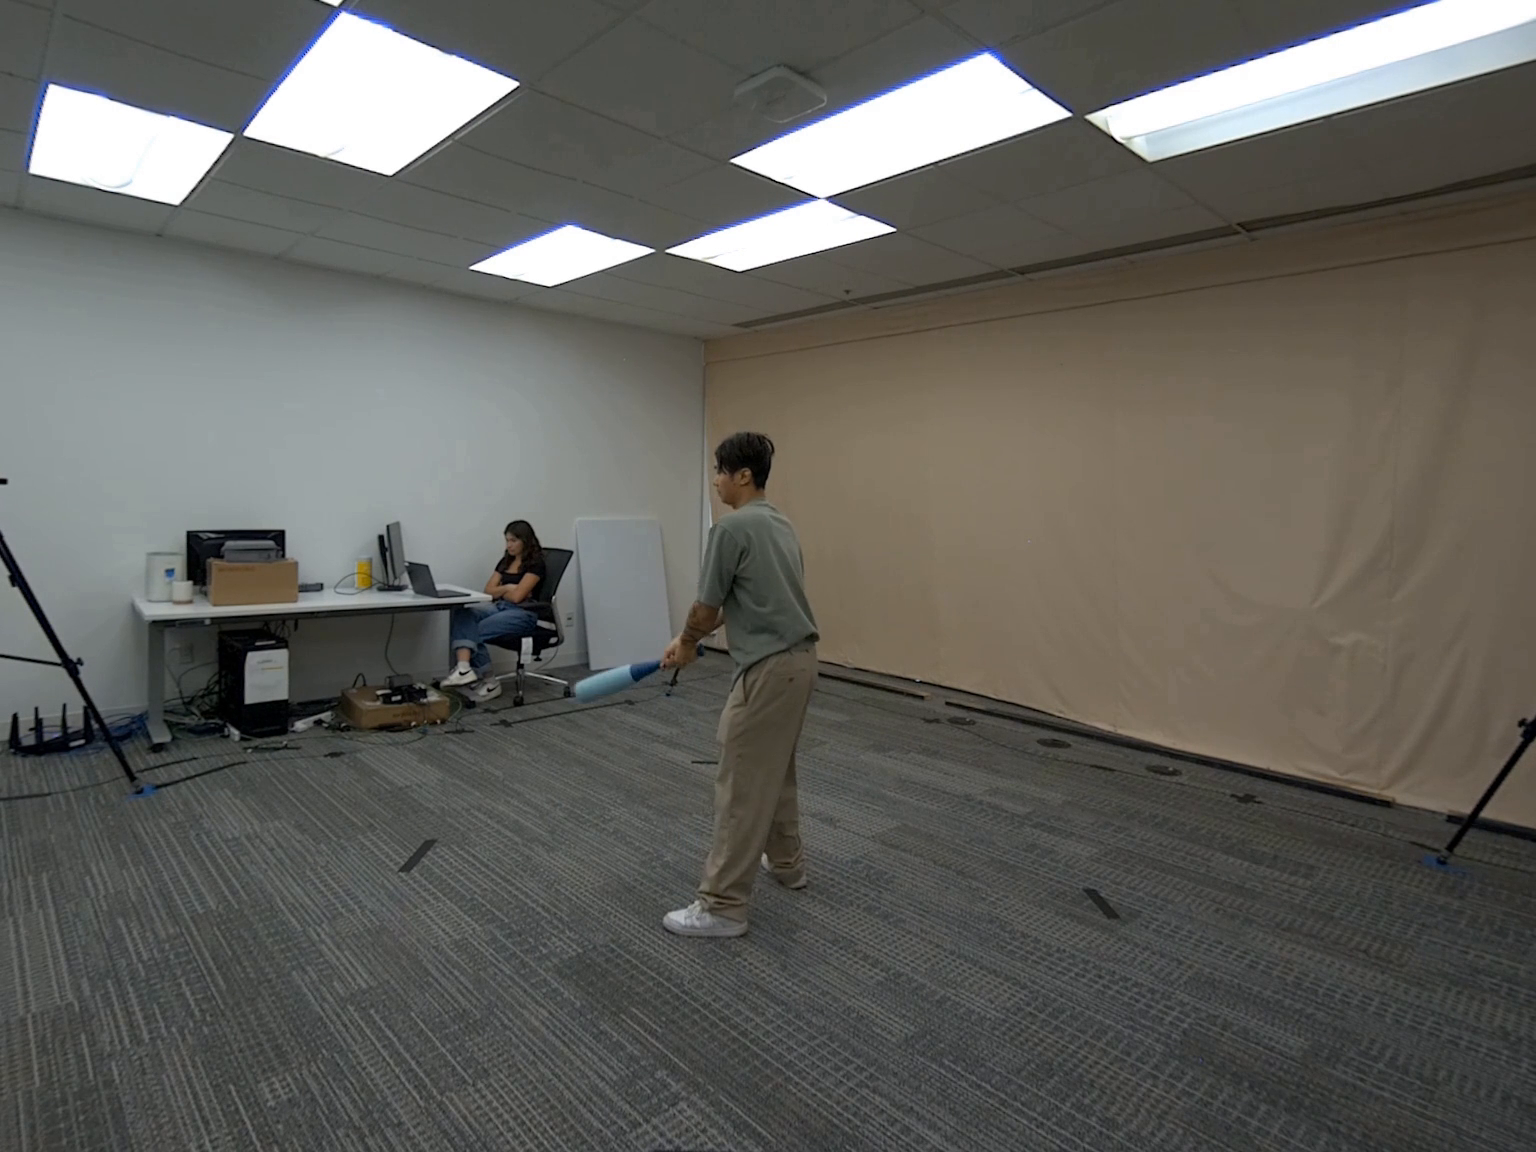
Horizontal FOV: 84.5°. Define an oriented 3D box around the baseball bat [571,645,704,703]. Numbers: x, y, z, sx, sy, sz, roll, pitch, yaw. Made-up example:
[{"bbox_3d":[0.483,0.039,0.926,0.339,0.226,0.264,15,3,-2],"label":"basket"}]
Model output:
[{"bbox_3d":[-0.477,0.334,3.073,0.548,0.089,0.088,-19,-3,20],"label":"baseball bat"}]
